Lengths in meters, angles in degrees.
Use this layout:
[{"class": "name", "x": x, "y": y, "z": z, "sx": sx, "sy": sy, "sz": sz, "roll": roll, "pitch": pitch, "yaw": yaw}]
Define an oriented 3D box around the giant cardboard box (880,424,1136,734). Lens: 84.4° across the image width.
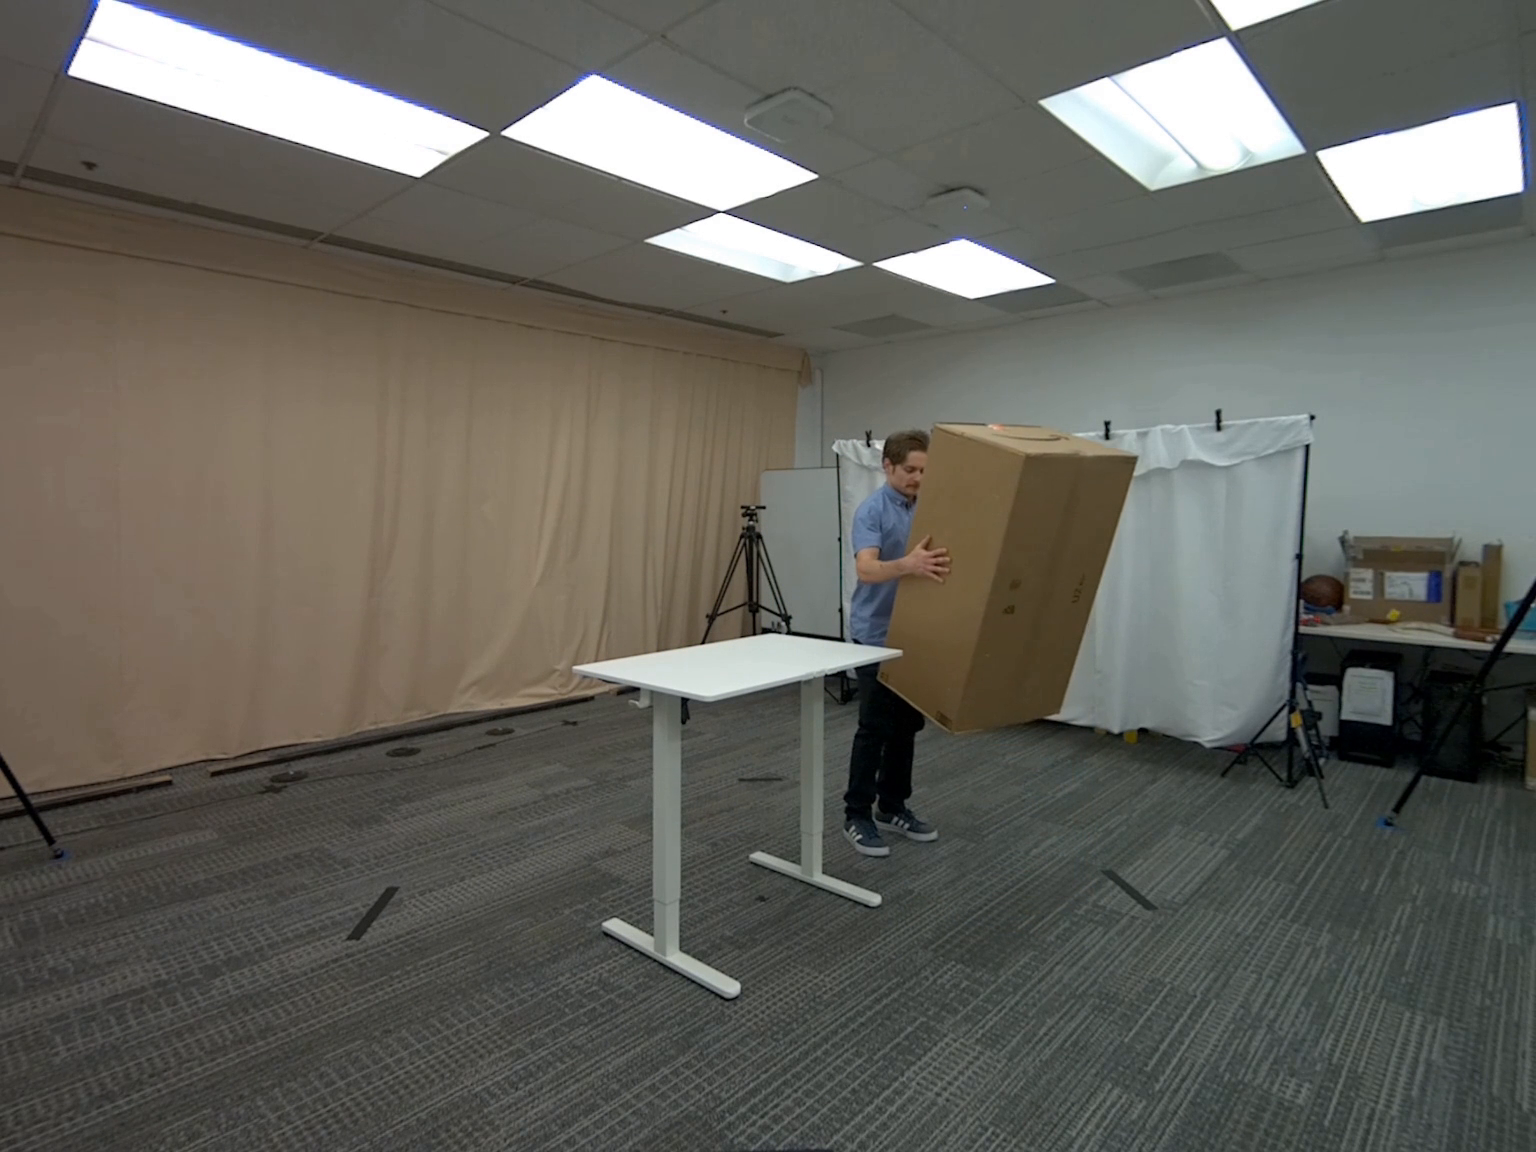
[{"class": "giant cardboard box", "x": 0.852, "y": -0.001, "z": 3.079, "sx": 0.562, "sy": 1.017, "sz": 0.441, "roll": -3, "pitch": 21, "yaw": -31}]
